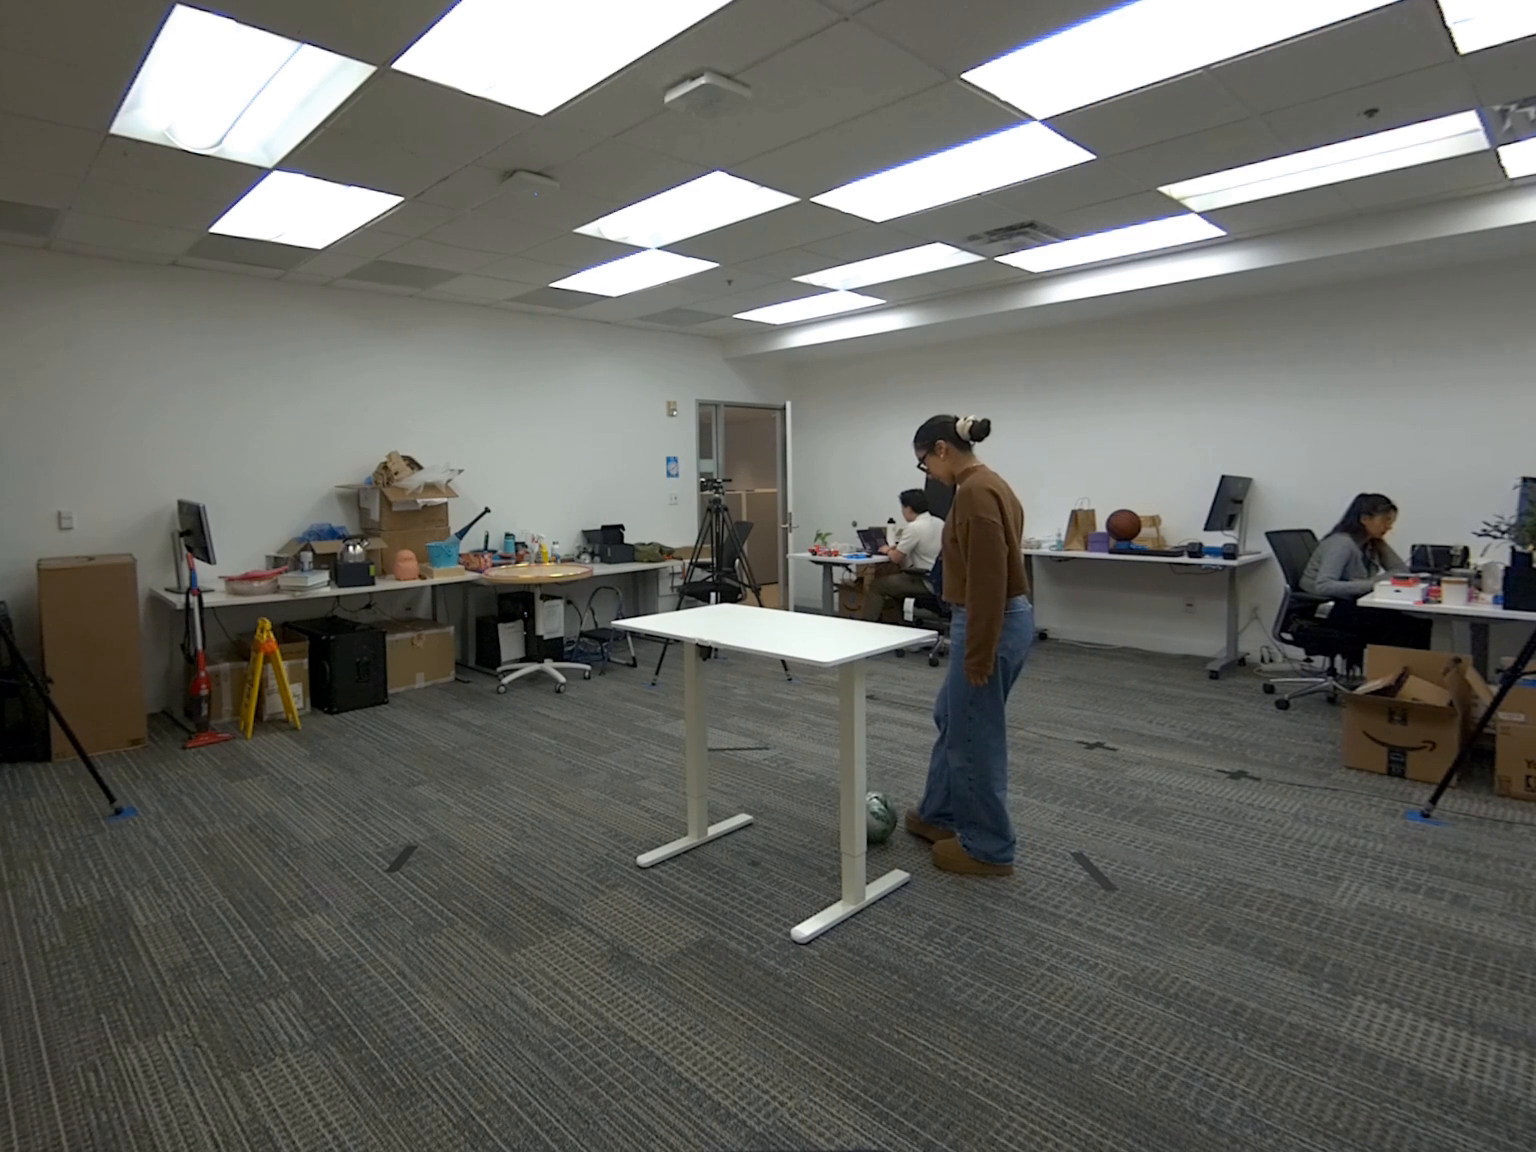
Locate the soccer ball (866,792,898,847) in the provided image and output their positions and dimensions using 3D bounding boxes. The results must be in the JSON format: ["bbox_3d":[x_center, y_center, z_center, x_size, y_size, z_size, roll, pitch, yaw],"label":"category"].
[{"bbox_3d":[0.406,0.922,3.287,0.187,0.187,0.188,-1,5,-2],"label":"soccer ball"}]
